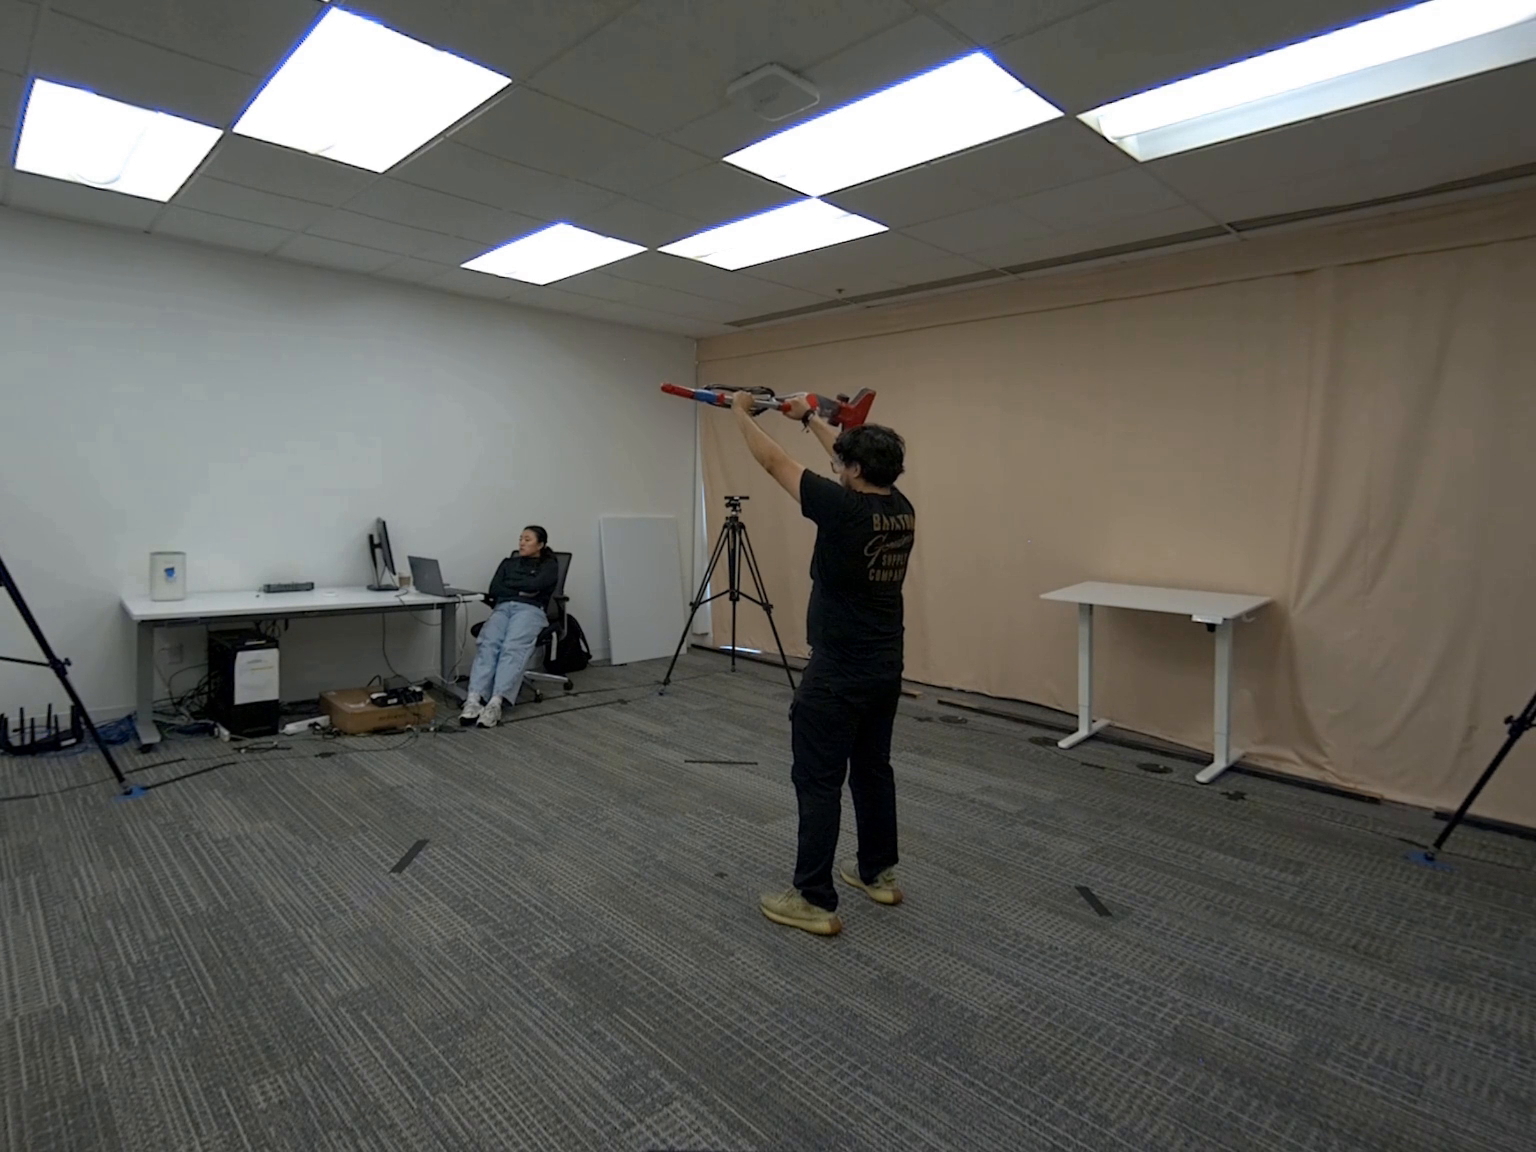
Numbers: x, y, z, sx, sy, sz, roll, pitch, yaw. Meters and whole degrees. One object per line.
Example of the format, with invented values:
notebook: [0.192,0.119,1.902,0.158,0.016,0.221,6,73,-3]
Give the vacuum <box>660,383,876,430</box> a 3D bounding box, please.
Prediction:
vacuum: [-0.001,-0.650,3.131,1.025,0.250,0.148,-4,33,-48]
